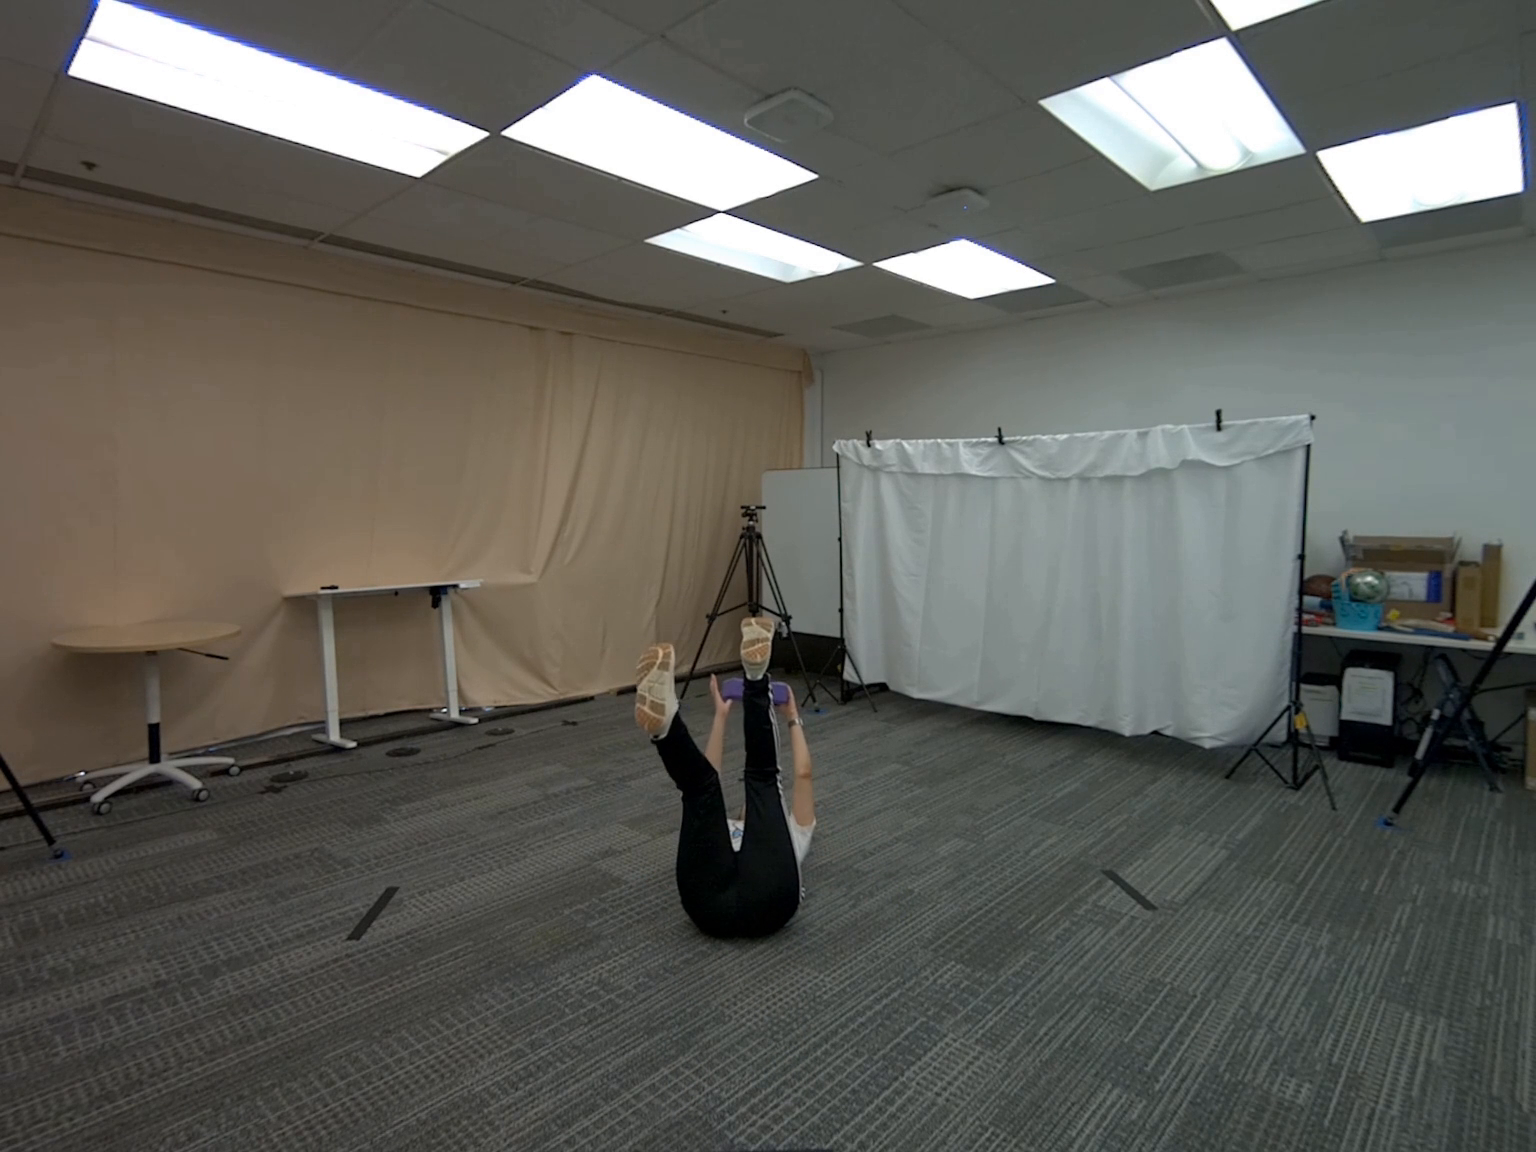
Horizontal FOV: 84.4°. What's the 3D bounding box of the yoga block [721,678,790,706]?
[{"bbox_3d":[-0.048,0.459,3.344,0.225,0.077,0.150,9,-14,-16],"label":"yoga block"}]
